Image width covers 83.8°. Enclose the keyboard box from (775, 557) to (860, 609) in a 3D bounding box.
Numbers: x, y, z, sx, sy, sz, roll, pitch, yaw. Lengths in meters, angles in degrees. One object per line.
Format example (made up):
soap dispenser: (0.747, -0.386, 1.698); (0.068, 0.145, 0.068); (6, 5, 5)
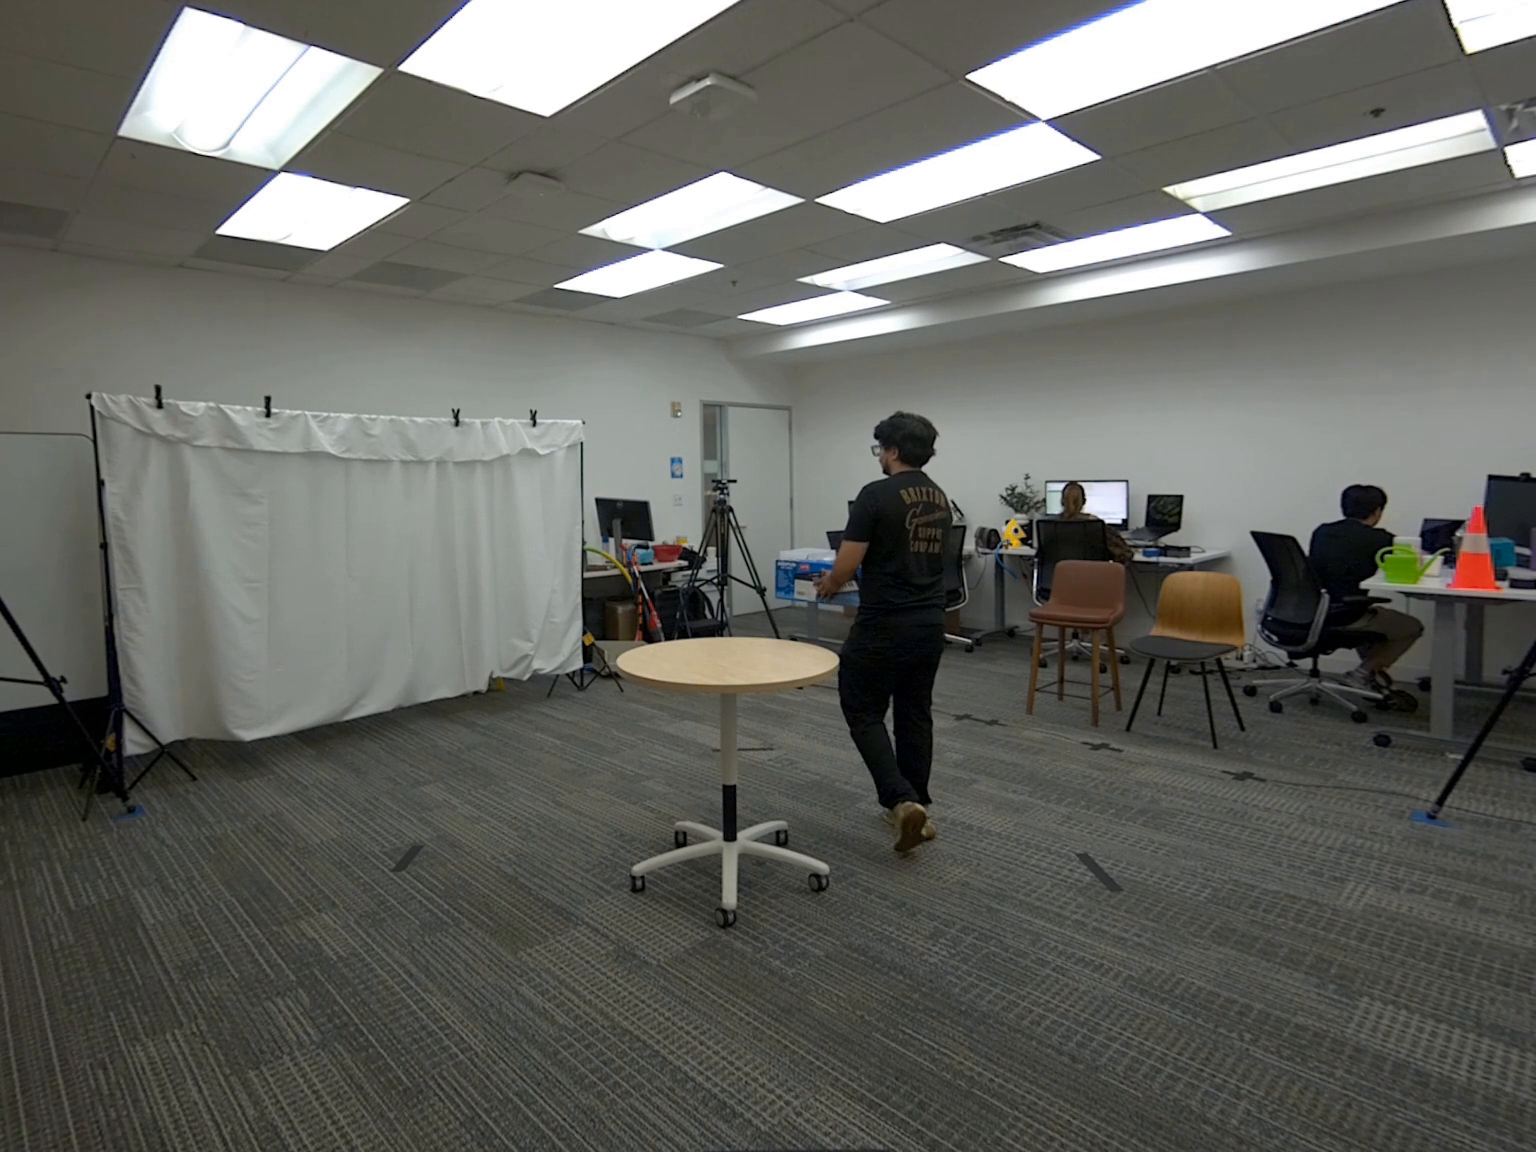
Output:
keyboard box: (0.235, 0.028, 3.593); (0.449, 0.175, 0.058); (6, 6, 32)
